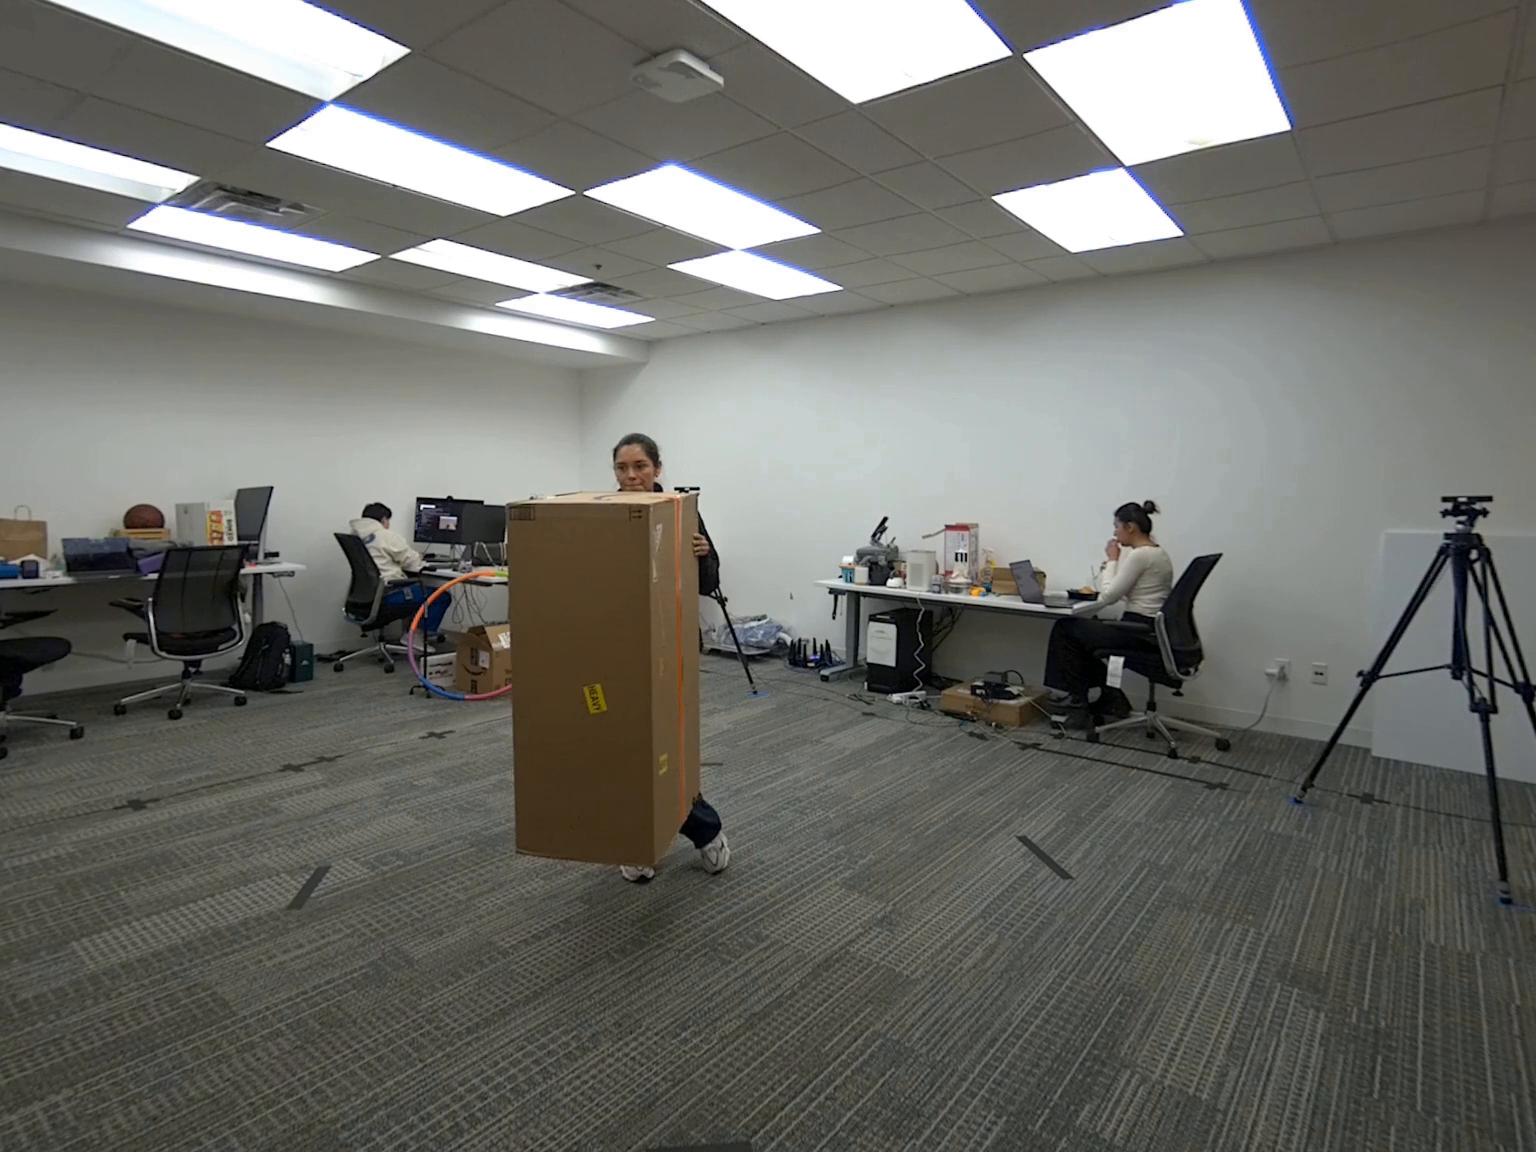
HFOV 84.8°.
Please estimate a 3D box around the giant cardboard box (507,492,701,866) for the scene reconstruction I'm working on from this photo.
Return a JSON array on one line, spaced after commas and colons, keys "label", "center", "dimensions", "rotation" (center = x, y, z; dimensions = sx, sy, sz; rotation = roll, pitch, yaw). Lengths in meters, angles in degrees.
[{"label": "giant cardboard box", "center": [-0.462, 0.264, 2.660], "dimensions": [0.431, 1.020, 0.574], "rotation": [0, 6, 10]}]
